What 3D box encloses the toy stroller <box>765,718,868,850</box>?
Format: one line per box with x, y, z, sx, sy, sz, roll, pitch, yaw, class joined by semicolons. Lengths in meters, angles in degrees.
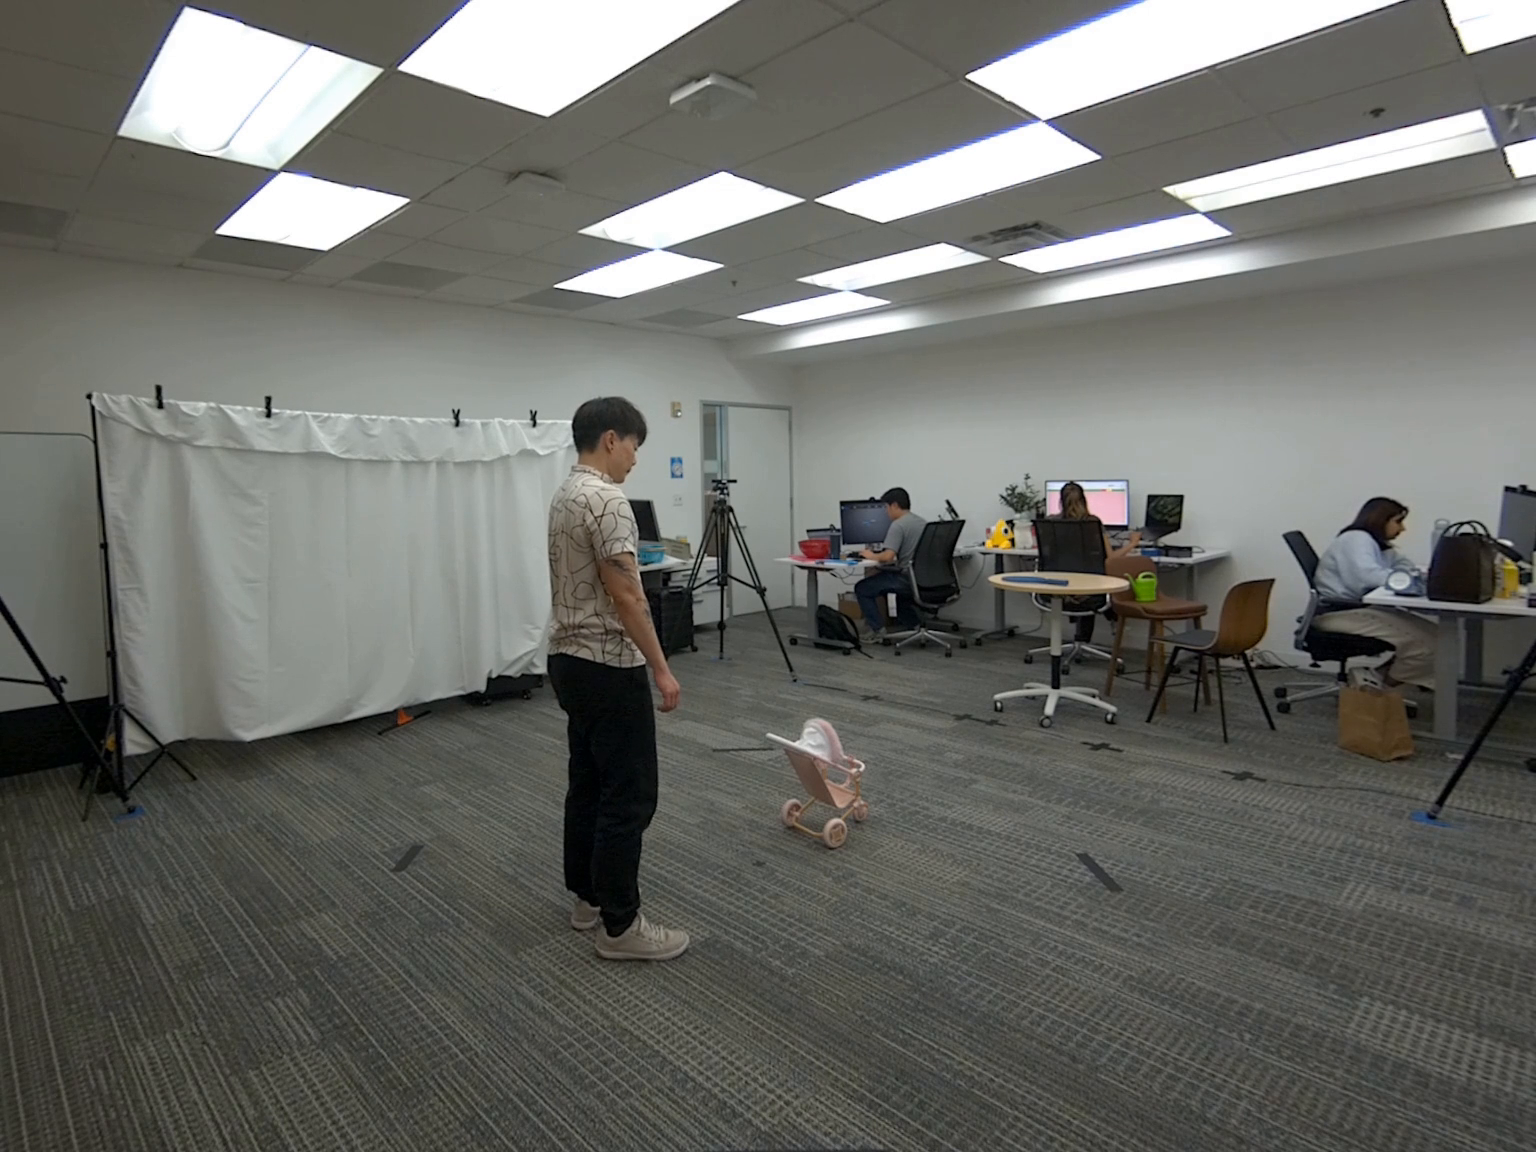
0.222;0.790;3.360;0.336;0.527;0.289;-23;15;-30;toy stroller
